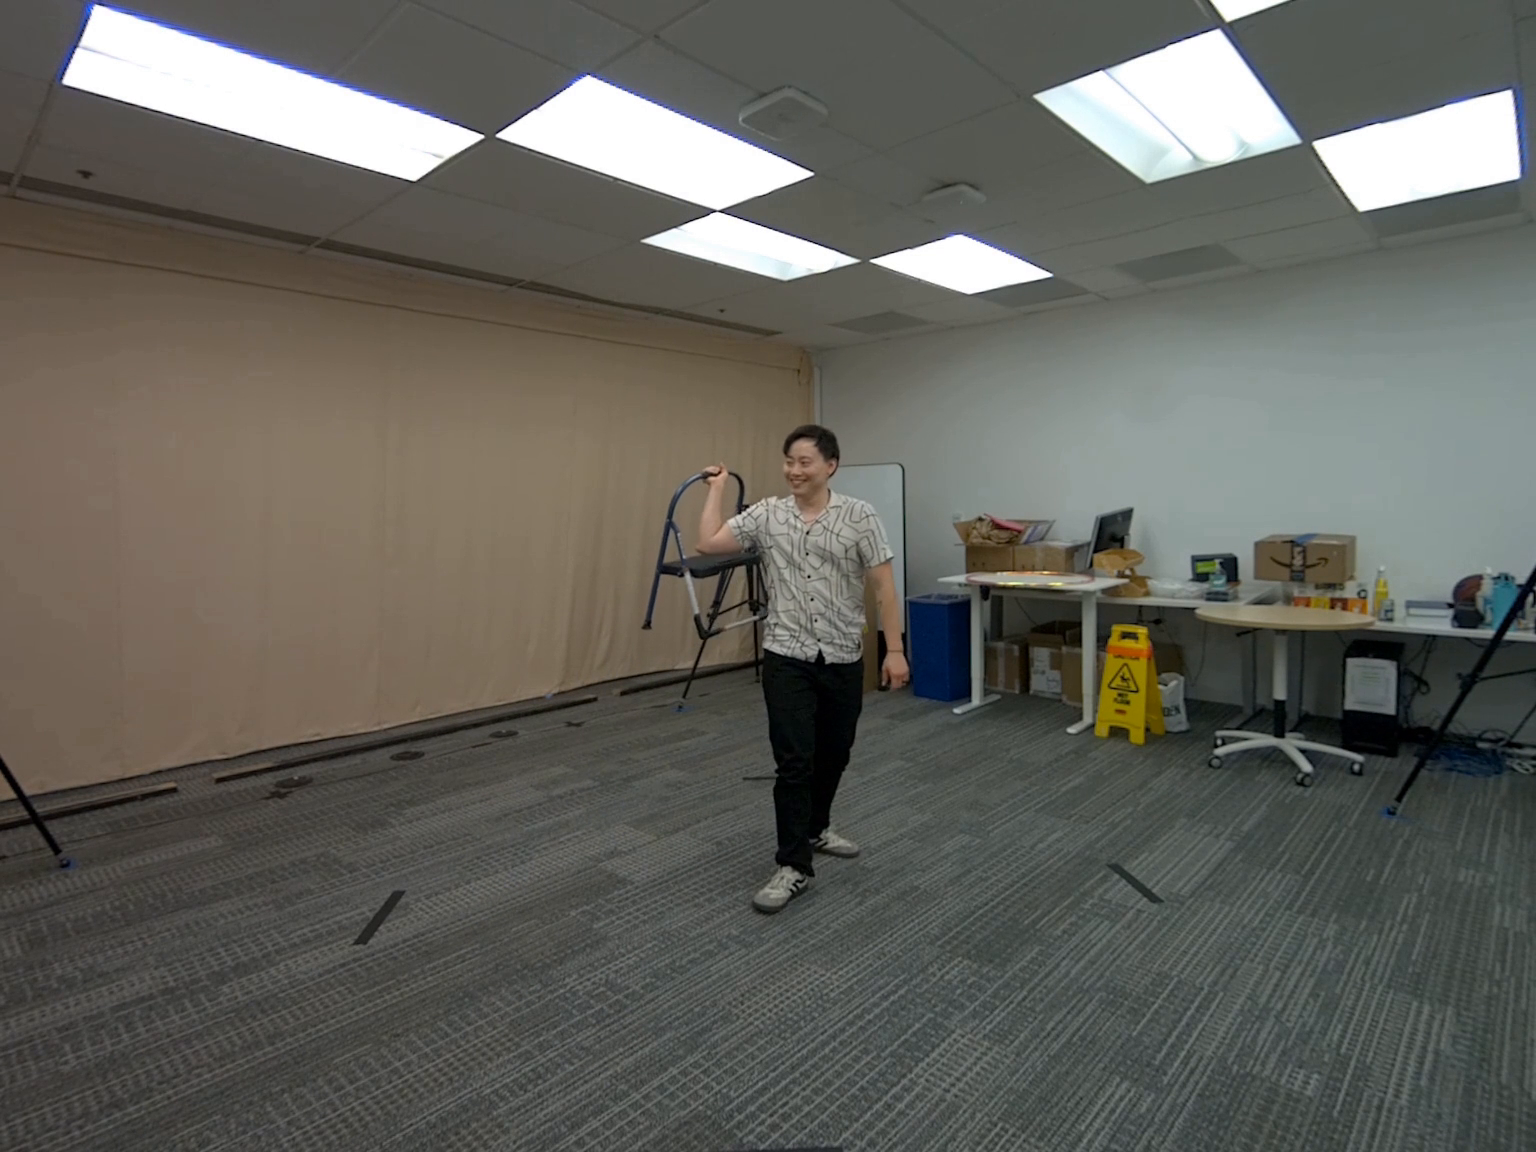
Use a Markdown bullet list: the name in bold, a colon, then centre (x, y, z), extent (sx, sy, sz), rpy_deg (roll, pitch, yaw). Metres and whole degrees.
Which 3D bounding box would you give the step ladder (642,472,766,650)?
- **step ladder**: centre (-0.250, -0.112, 3.318), extent (0.361, 0.602, 0.419), rpy_deg (5, 13, 42)
